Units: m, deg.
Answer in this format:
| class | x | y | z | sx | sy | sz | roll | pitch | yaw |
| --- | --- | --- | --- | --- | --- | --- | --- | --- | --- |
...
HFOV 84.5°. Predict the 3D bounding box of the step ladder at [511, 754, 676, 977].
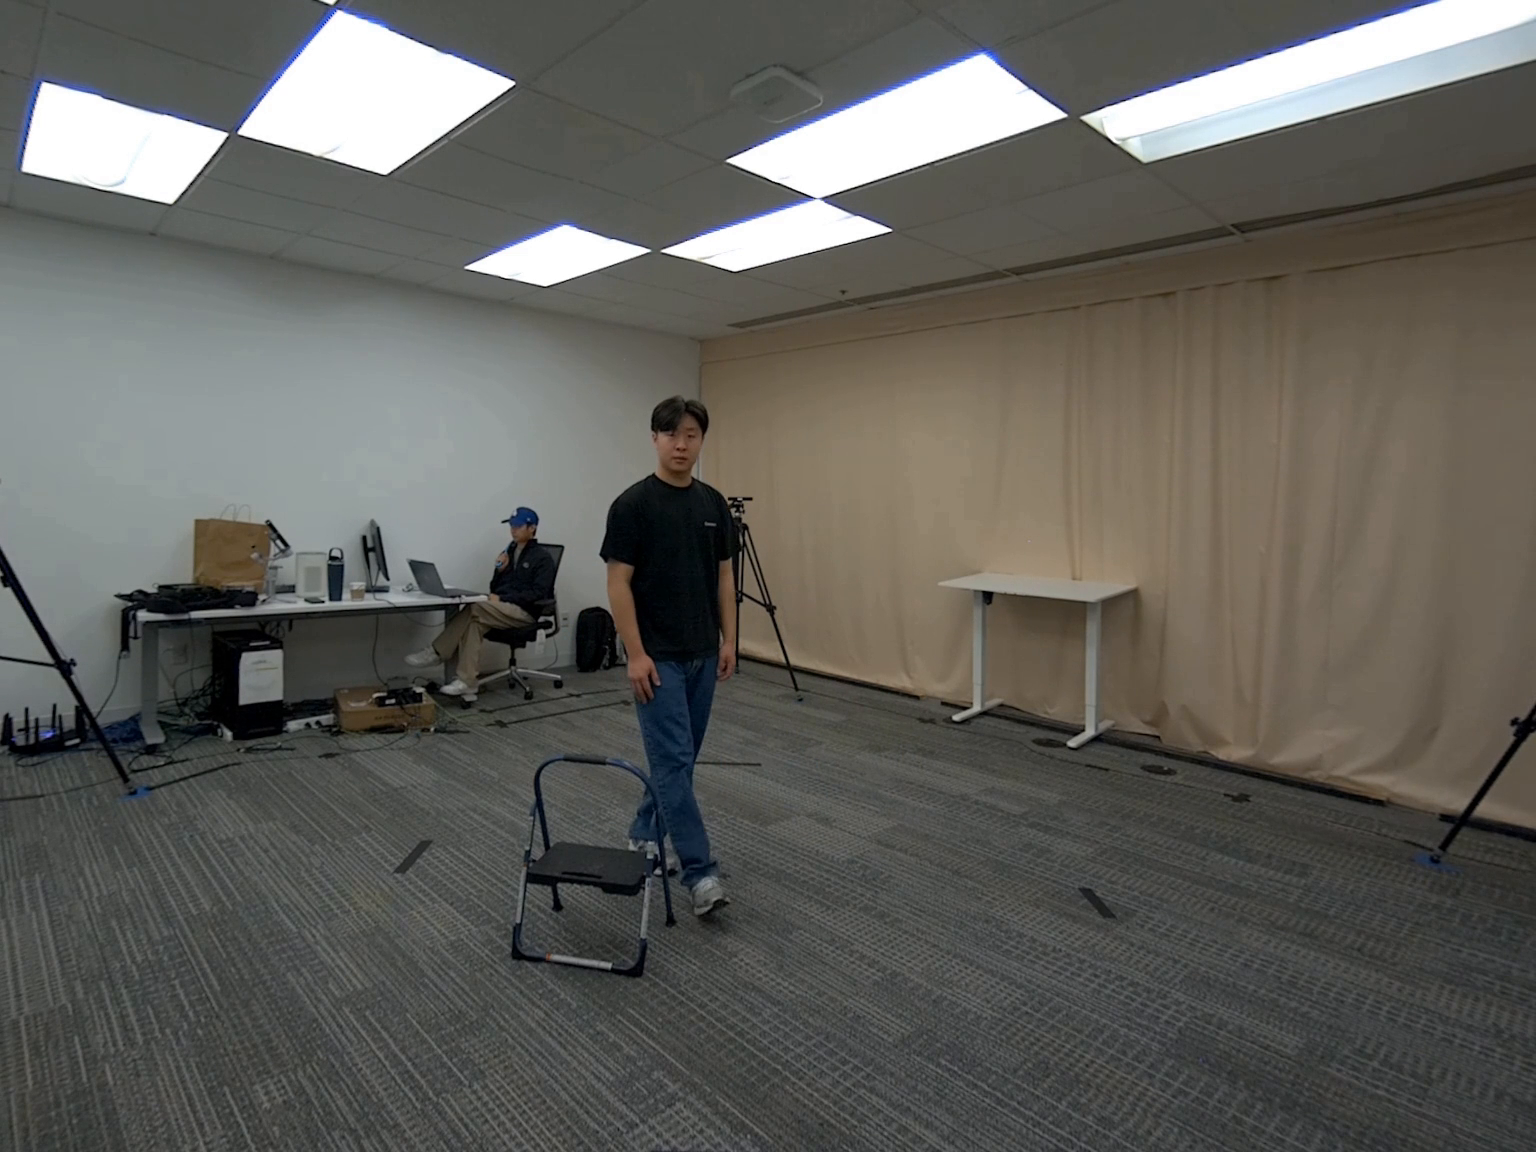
| class | x | y | z | sx | sy | sz | roll | pitch | yaw |
| --- | --- | --- | --- | --- | --- | --- | --- | --- | --- |
| step ladder | -0.544 | 0.844 | 2.617 | 0.434 | 0.604 | 0.347 | 2 | 3 | 11 |
